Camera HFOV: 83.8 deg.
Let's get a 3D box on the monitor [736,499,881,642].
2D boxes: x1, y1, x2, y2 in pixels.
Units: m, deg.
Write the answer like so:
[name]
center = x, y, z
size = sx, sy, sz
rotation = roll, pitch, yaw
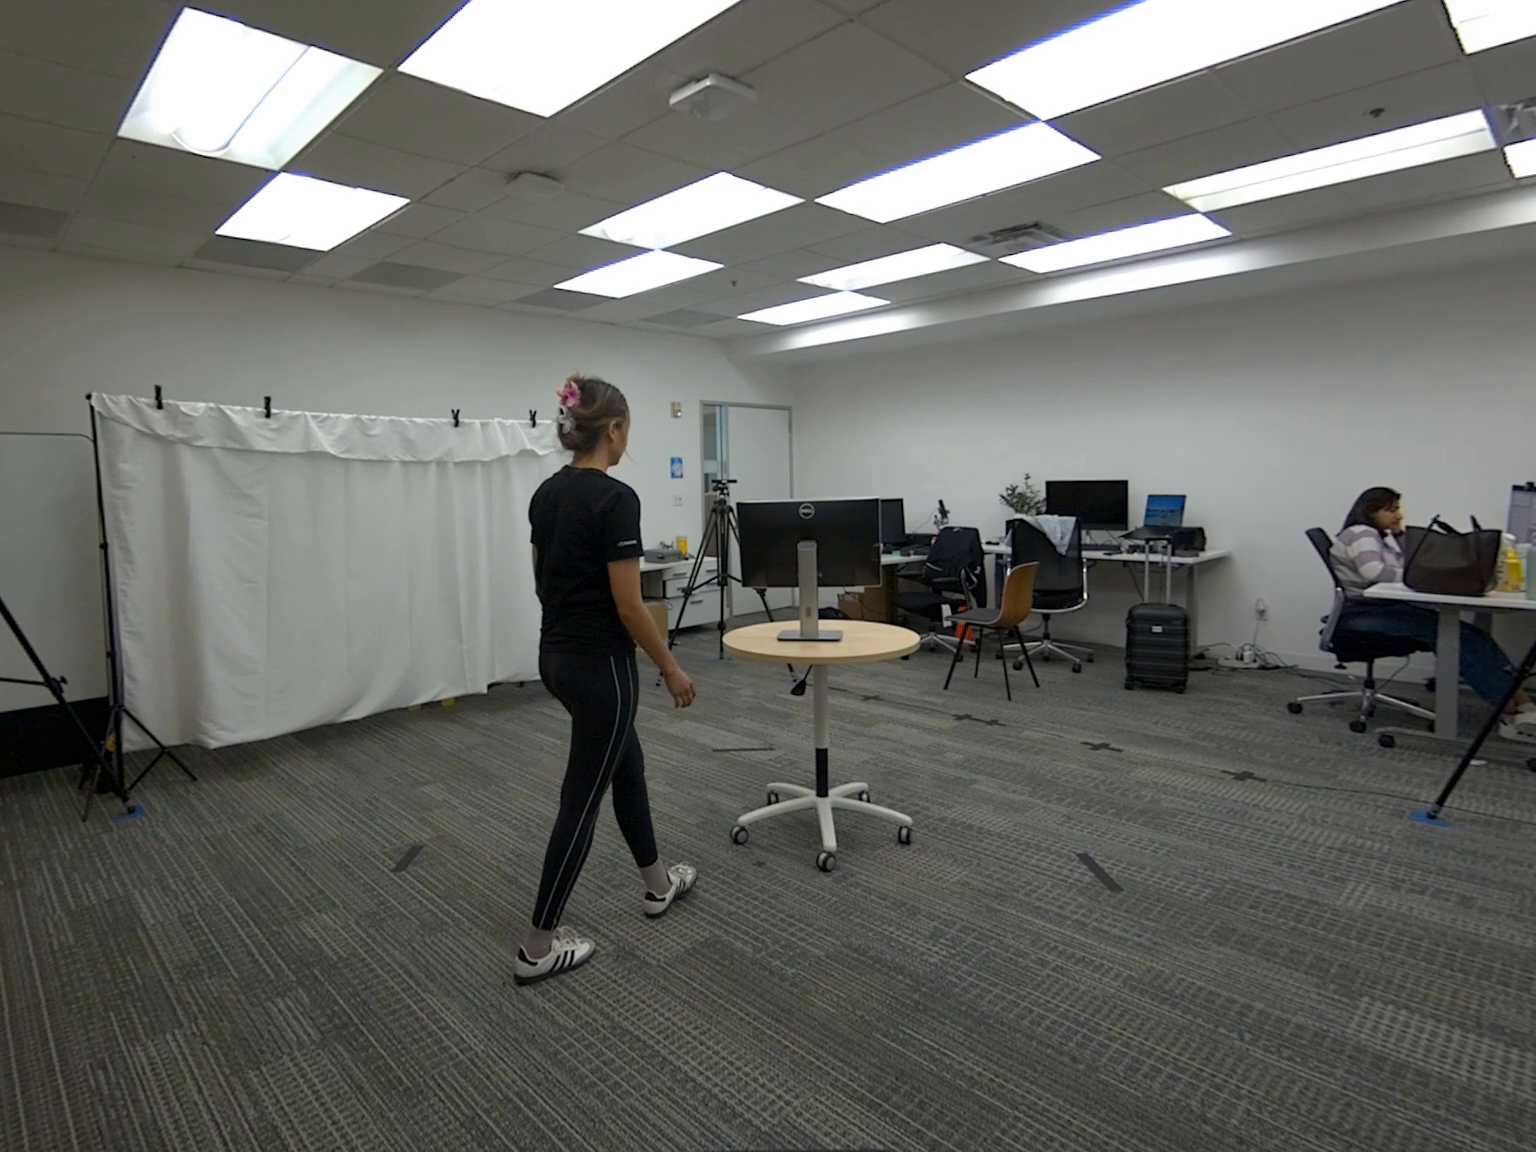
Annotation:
[monitor]
center = 0.156, -0.023, 3.331
size = 0.544, 0.521, 0.186
rotation = -1, 3, 9
